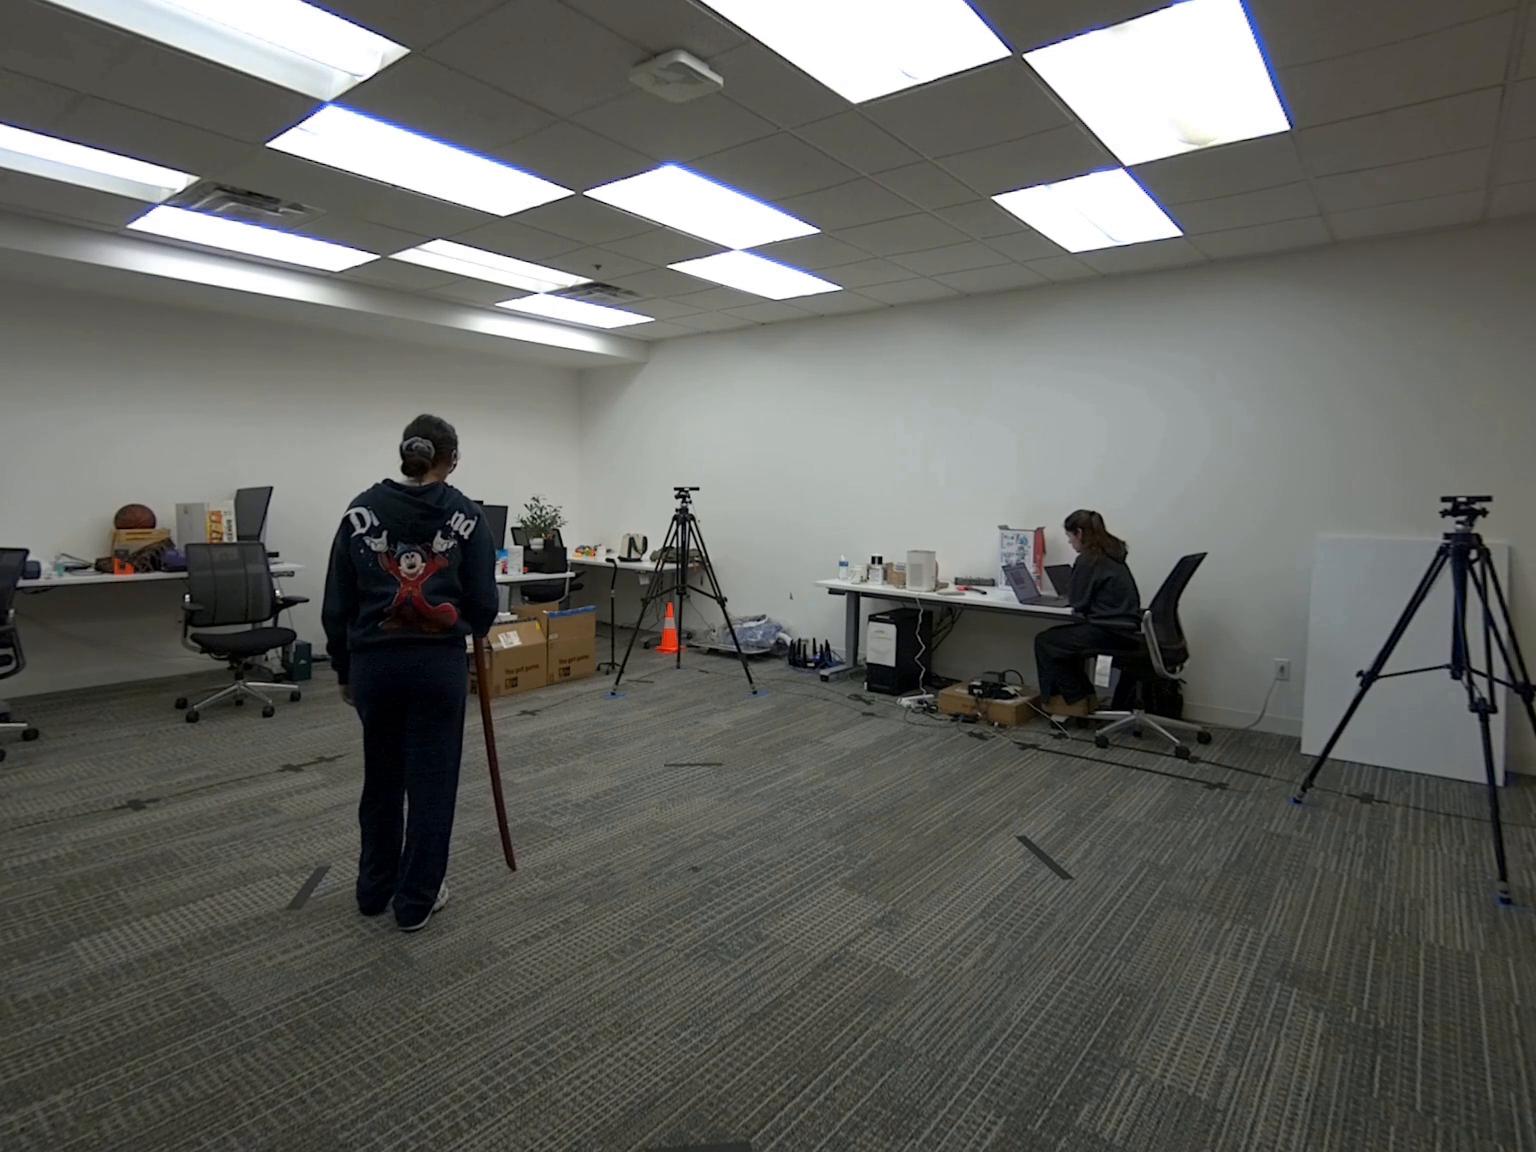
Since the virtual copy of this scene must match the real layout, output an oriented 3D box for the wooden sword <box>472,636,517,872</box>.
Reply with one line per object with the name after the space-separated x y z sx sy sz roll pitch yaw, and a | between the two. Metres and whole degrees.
-0.984 0.575 3.013 0.050 1.018 0.025 -9 7 -36 | wooden sword
